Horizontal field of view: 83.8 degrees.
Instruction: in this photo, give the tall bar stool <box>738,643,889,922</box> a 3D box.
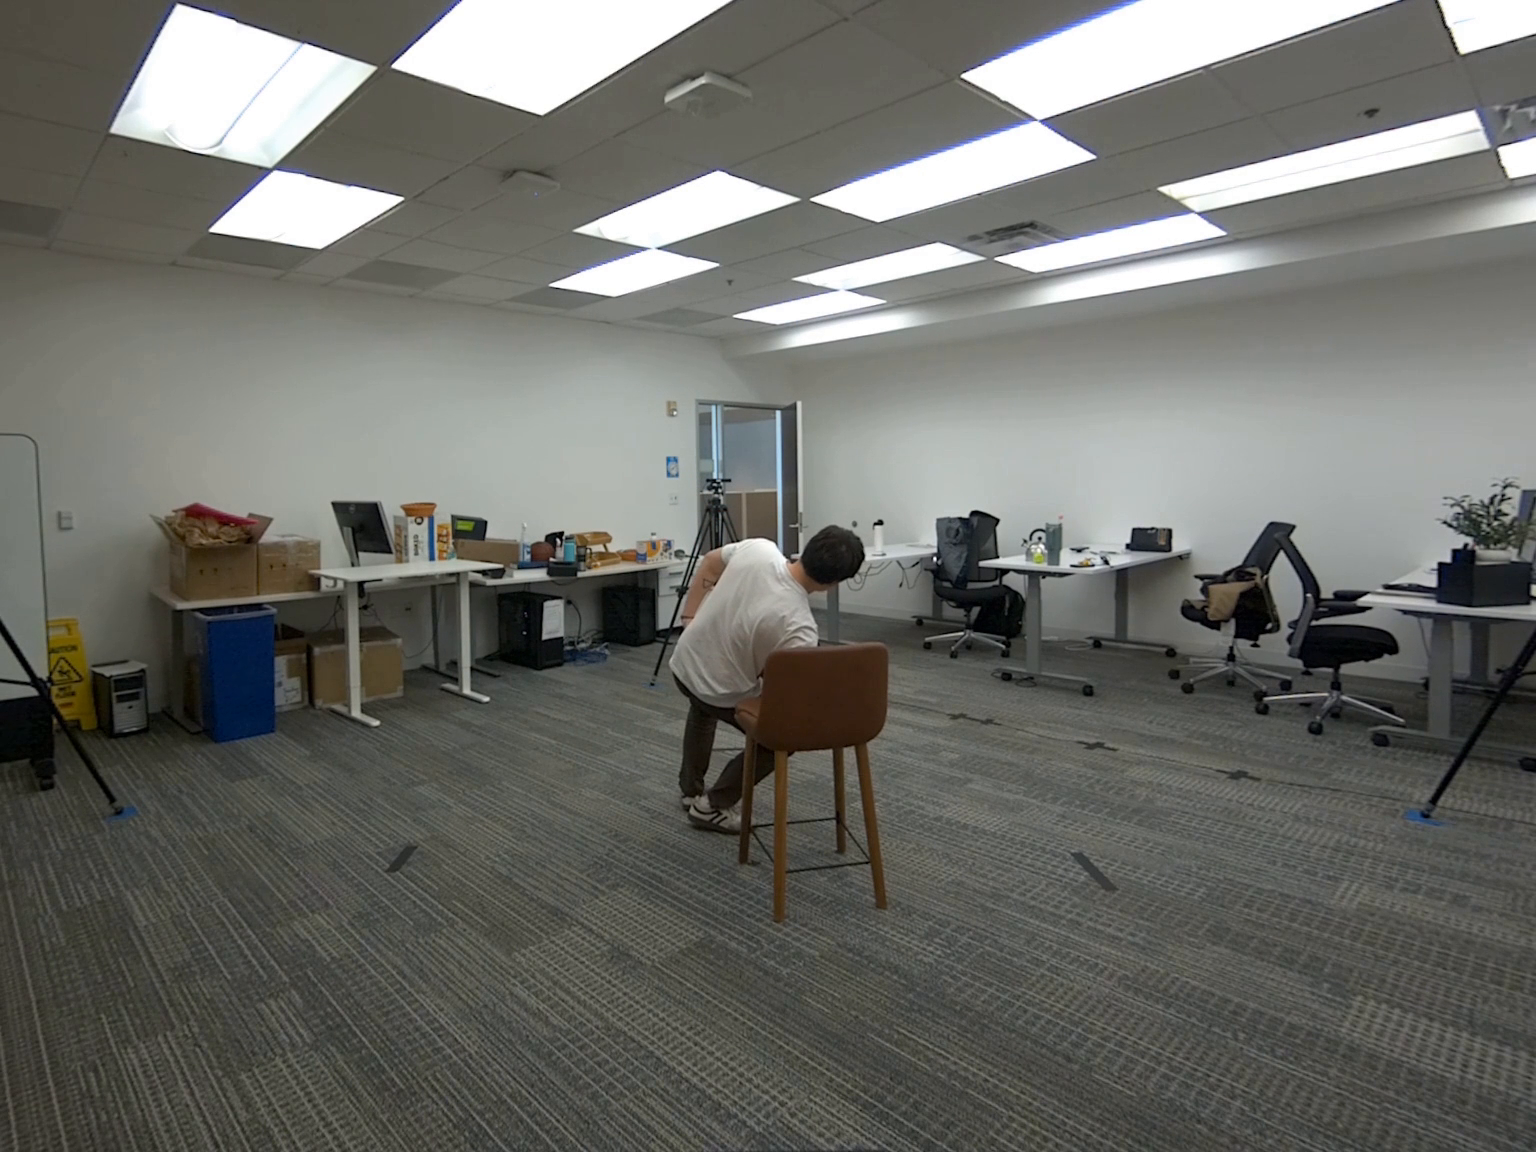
[{"bbox_3d":[0.145,0.629,2.913,0.451,0.885,0.476,-2,6,-14],"label":"tall bar stool"}]
